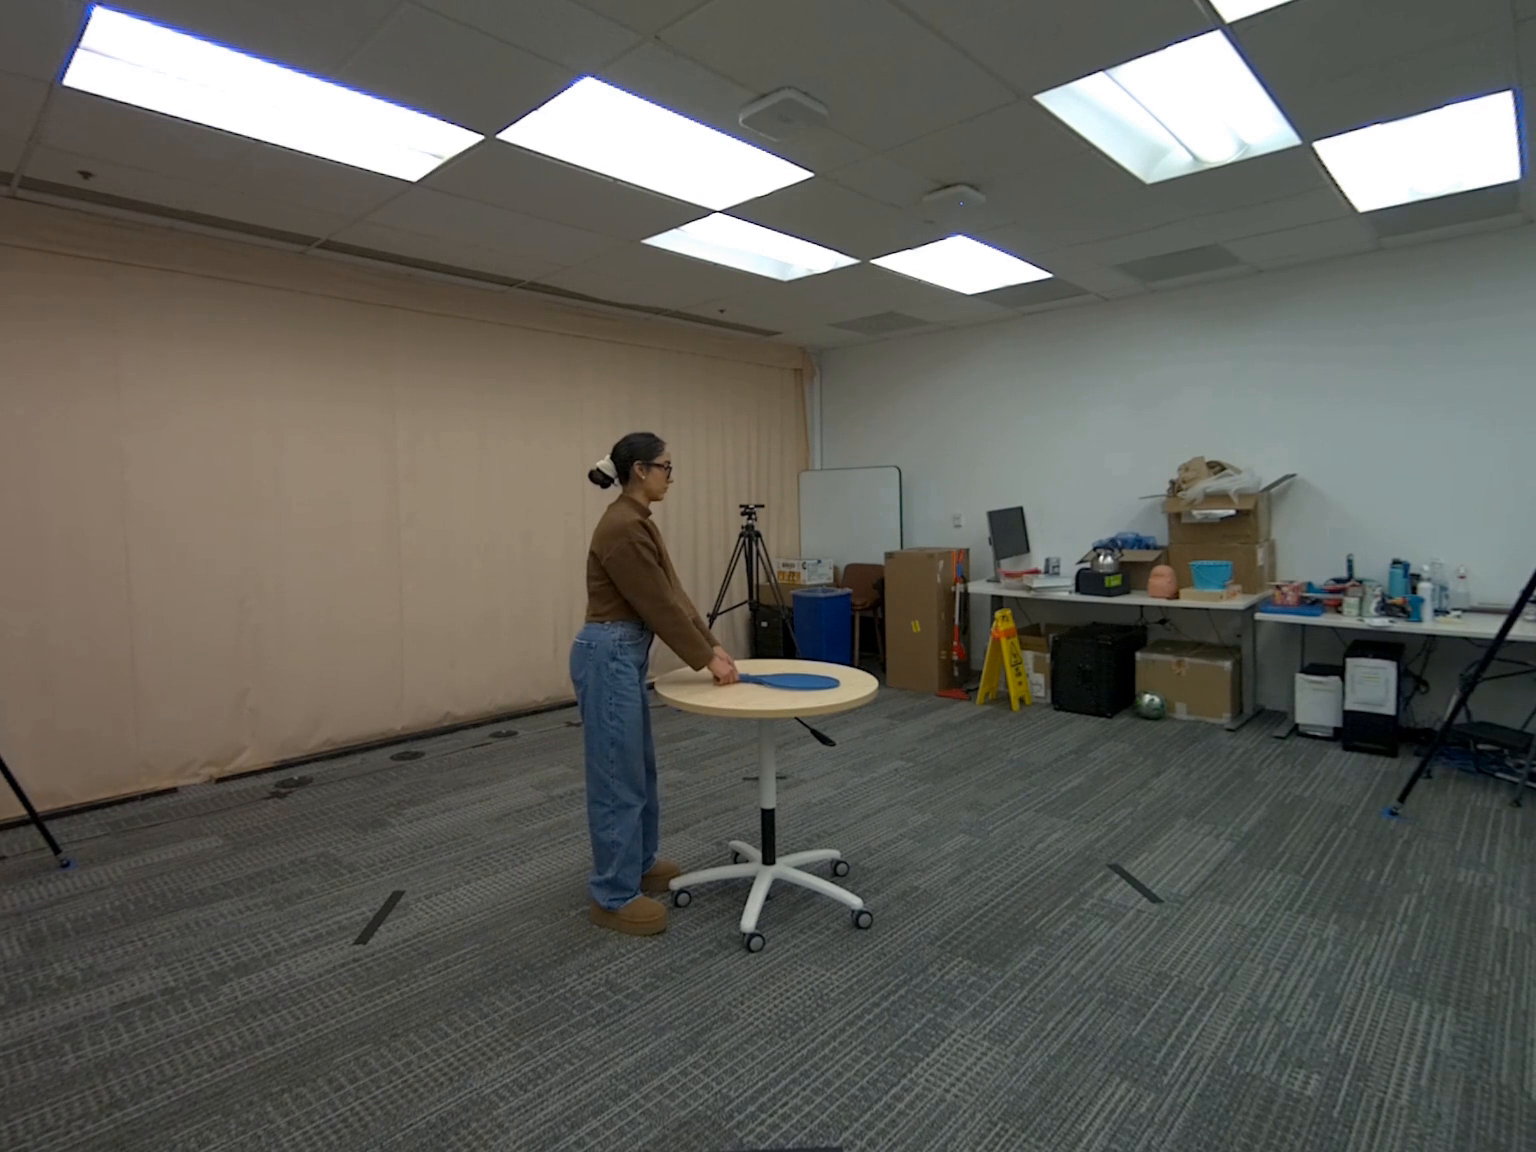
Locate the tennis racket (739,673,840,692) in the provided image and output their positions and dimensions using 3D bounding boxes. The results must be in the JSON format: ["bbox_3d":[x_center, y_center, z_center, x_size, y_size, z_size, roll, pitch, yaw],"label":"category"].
[{"bbox_3d":[0.032,0.360,2.864,0.442,0.032,0.210,2,5,20],"label":"tennis racket"}]
